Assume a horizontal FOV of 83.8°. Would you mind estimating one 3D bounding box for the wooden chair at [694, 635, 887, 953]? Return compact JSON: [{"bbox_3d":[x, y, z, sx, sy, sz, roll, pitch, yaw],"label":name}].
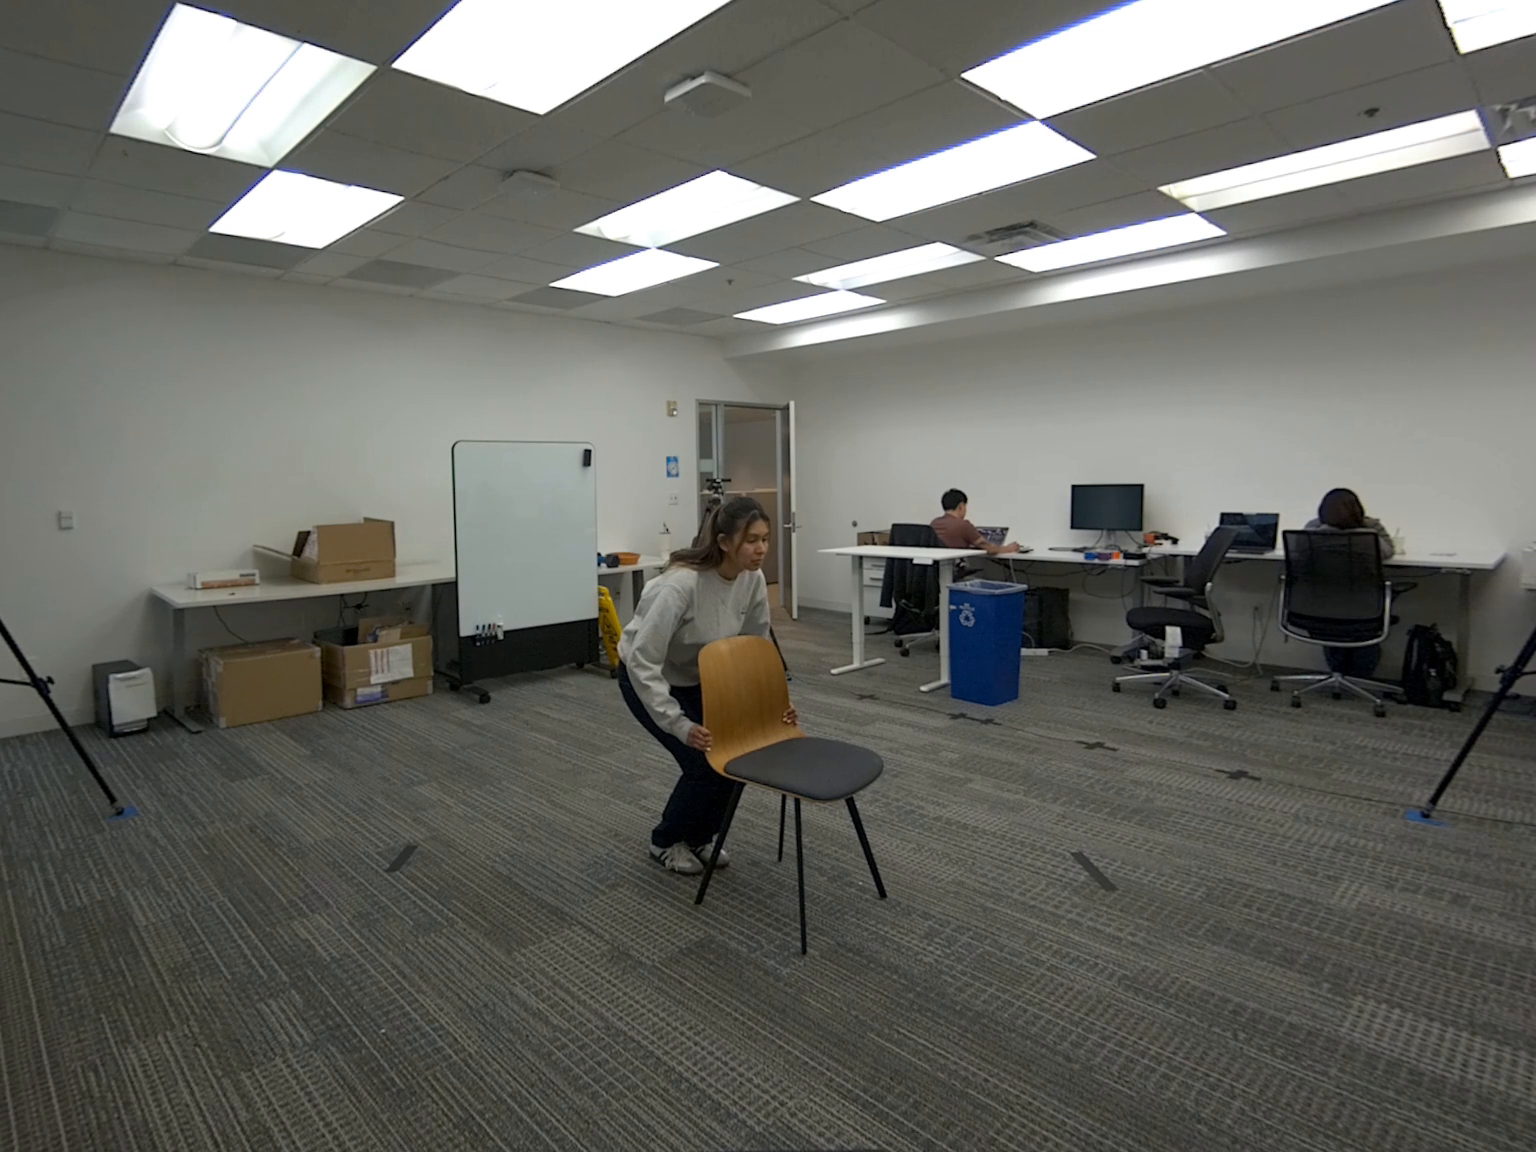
[{"bbox_3d":[0.083,0.650,2.777,0.537,0.877,0.465,-3,1,41],"label":"wooden chair"}]
